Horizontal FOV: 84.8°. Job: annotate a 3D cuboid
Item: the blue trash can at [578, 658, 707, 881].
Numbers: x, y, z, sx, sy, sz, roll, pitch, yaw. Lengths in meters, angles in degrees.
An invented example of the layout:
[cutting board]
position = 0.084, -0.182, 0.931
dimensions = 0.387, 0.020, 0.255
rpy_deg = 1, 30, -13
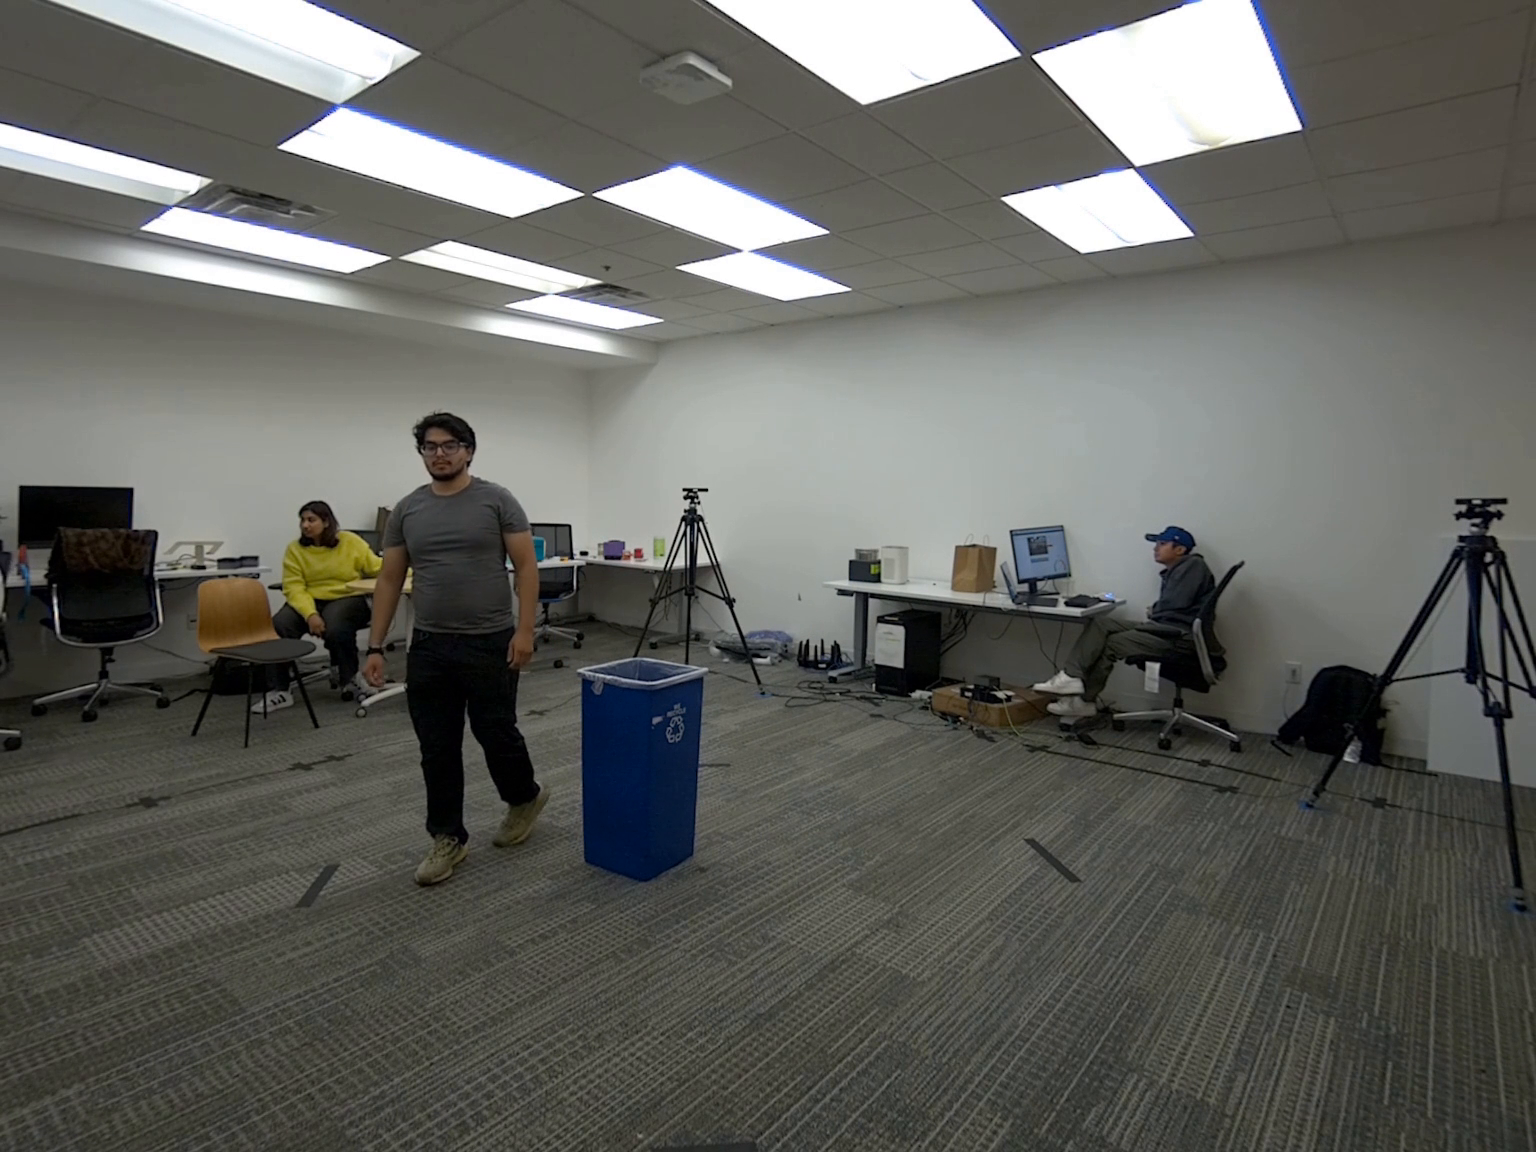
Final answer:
[blue trash can]
position = -0.484, 0.701, 3.187
dimensions = 0.390, 0.712, 0.364
rpy_deg = 3, 4, 32
